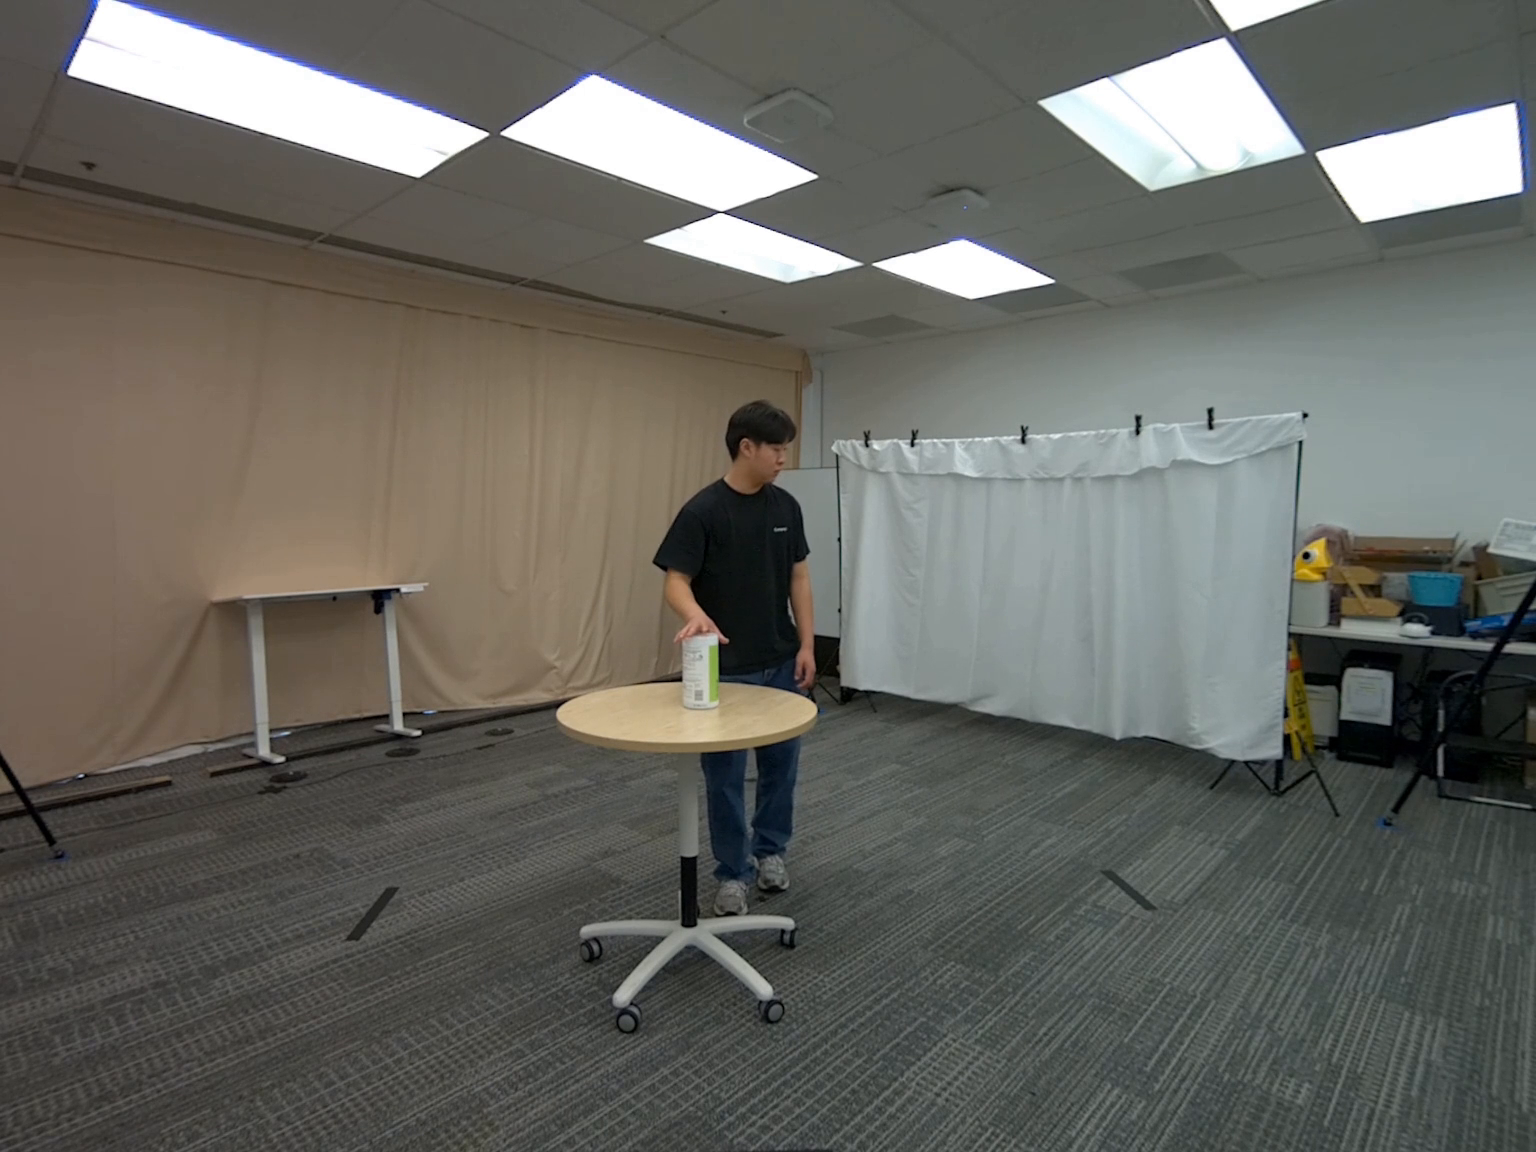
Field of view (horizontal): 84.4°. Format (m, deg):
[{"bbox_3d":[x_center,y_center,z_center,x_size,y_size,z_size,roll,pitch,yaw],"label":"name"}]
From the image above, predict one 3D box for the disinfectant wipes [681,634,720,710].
[{"bbox_3d":[-0.200,0.284,2.511,0.118,0.217,0.118,0,1,-2],"label":"disinfectant wipes"}]
